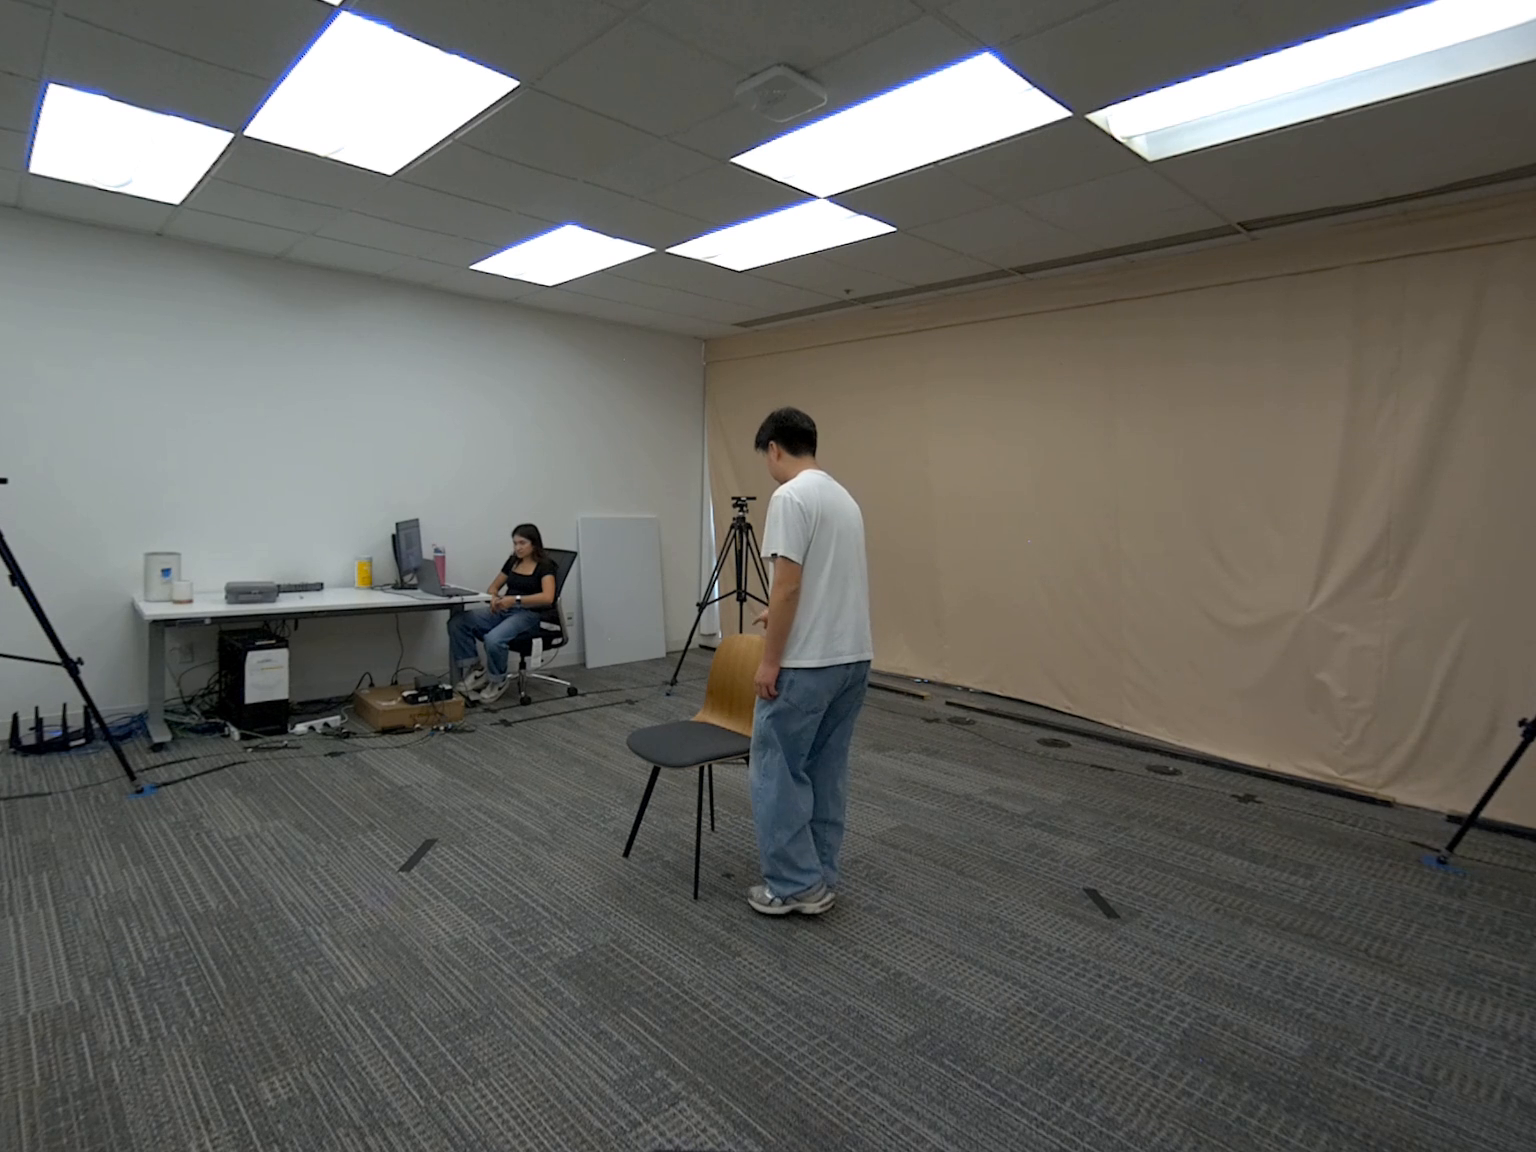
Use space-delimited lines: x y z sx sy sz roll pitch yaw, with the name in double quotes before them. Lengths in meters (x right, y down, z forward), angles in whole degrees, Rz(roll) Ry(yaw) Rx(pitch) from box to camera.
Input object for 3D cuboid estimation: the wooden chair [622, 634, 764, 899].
"wooden chair" -0.246 0.670 3.192 0.510 0.877 0.490 4 1 -41
